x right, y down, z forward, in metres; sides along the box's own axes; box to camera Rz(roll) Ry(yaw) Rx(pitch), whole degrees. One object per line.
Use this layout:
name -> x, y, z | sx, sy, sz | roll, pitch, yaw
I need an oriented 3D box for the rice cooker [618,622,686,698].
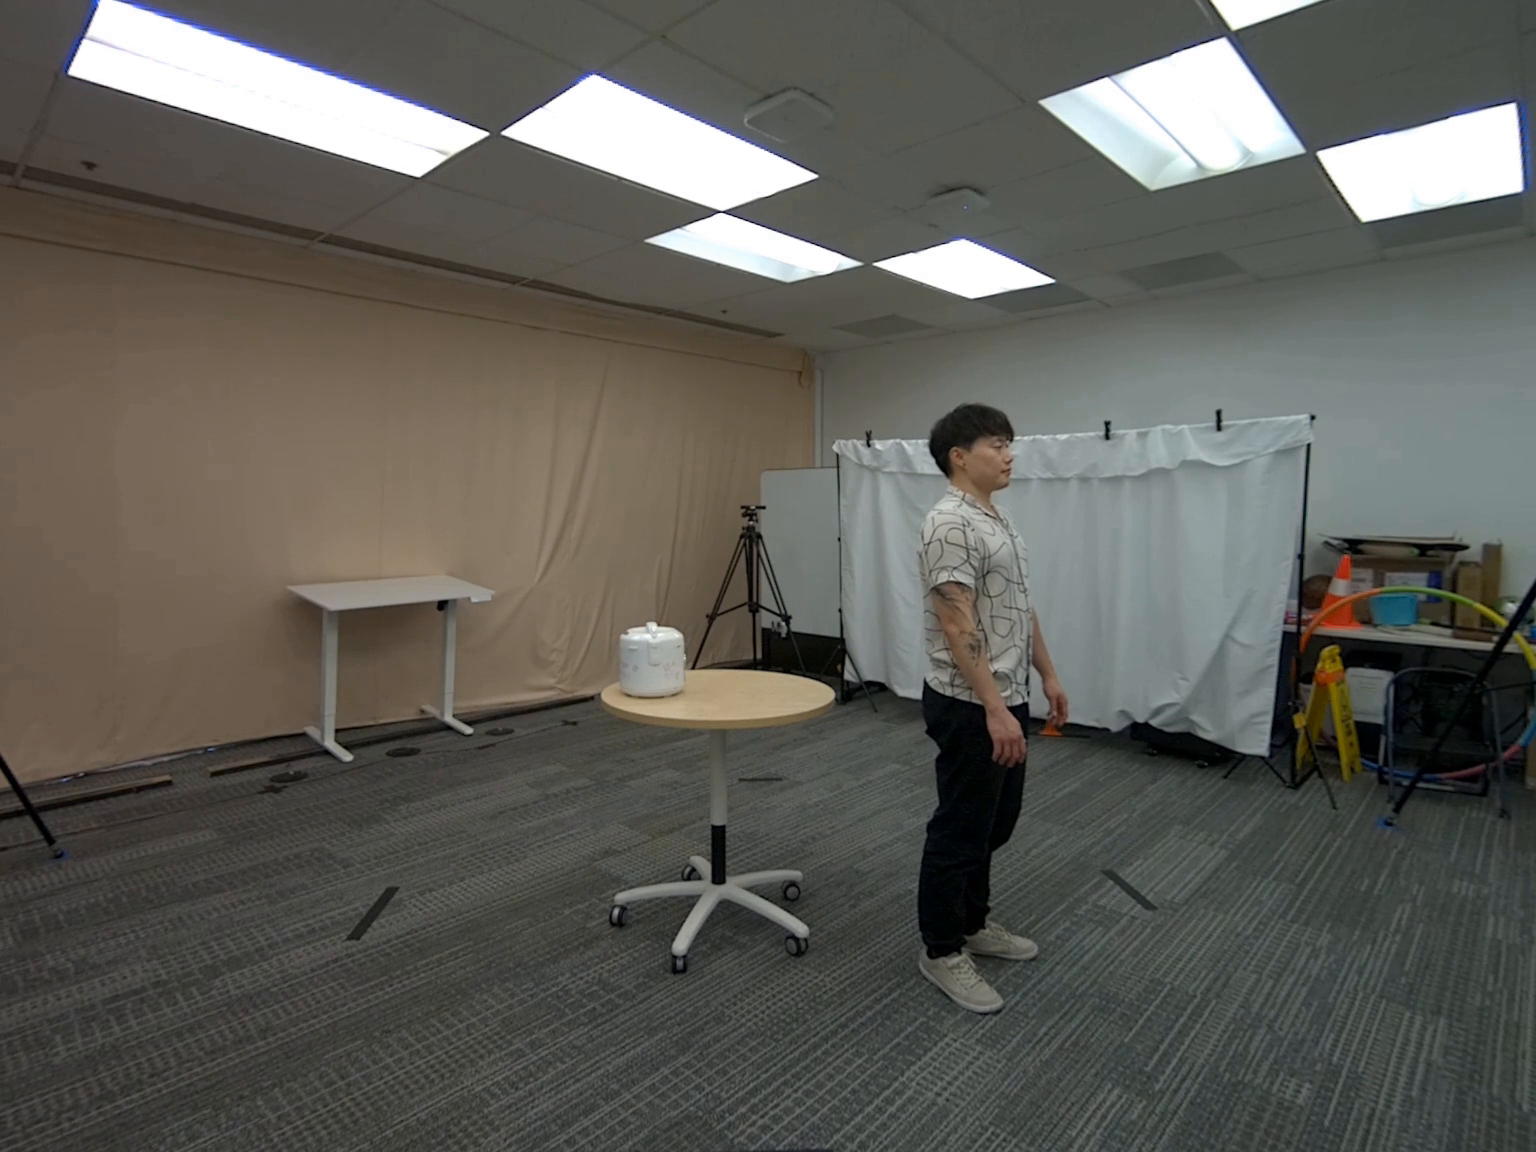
rice cooker -> -0.376, 0.267, 2.753 | 0.215, 0.232, 0.223 | -2, 4, -11
